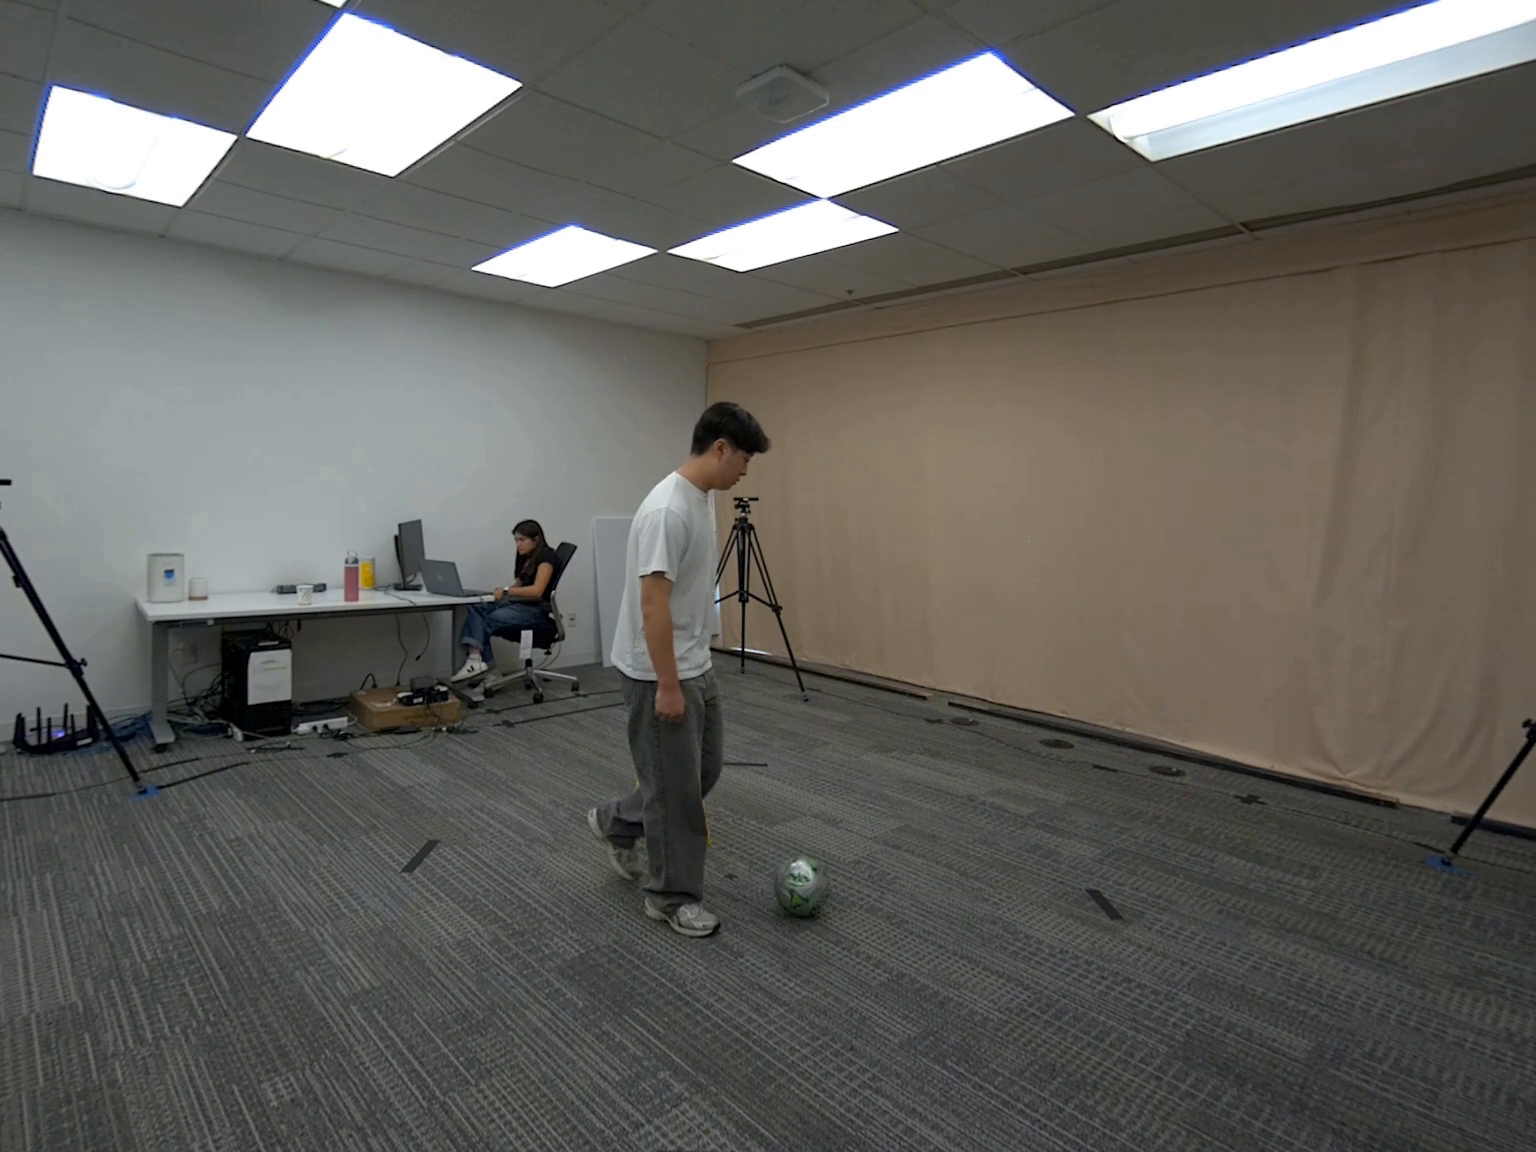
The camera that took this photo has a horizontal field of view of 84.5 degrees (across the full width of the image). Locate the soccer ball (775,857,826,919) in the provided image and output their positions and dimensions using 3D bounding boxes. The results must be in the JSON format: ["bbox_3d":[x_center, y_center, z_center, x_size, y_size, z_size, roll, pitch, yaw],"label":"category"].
[{"bbox_3d":[0.105,1.045,2.823,0.187,0.187,0.188,1,4,-1],"label":"soccer ball"}]
